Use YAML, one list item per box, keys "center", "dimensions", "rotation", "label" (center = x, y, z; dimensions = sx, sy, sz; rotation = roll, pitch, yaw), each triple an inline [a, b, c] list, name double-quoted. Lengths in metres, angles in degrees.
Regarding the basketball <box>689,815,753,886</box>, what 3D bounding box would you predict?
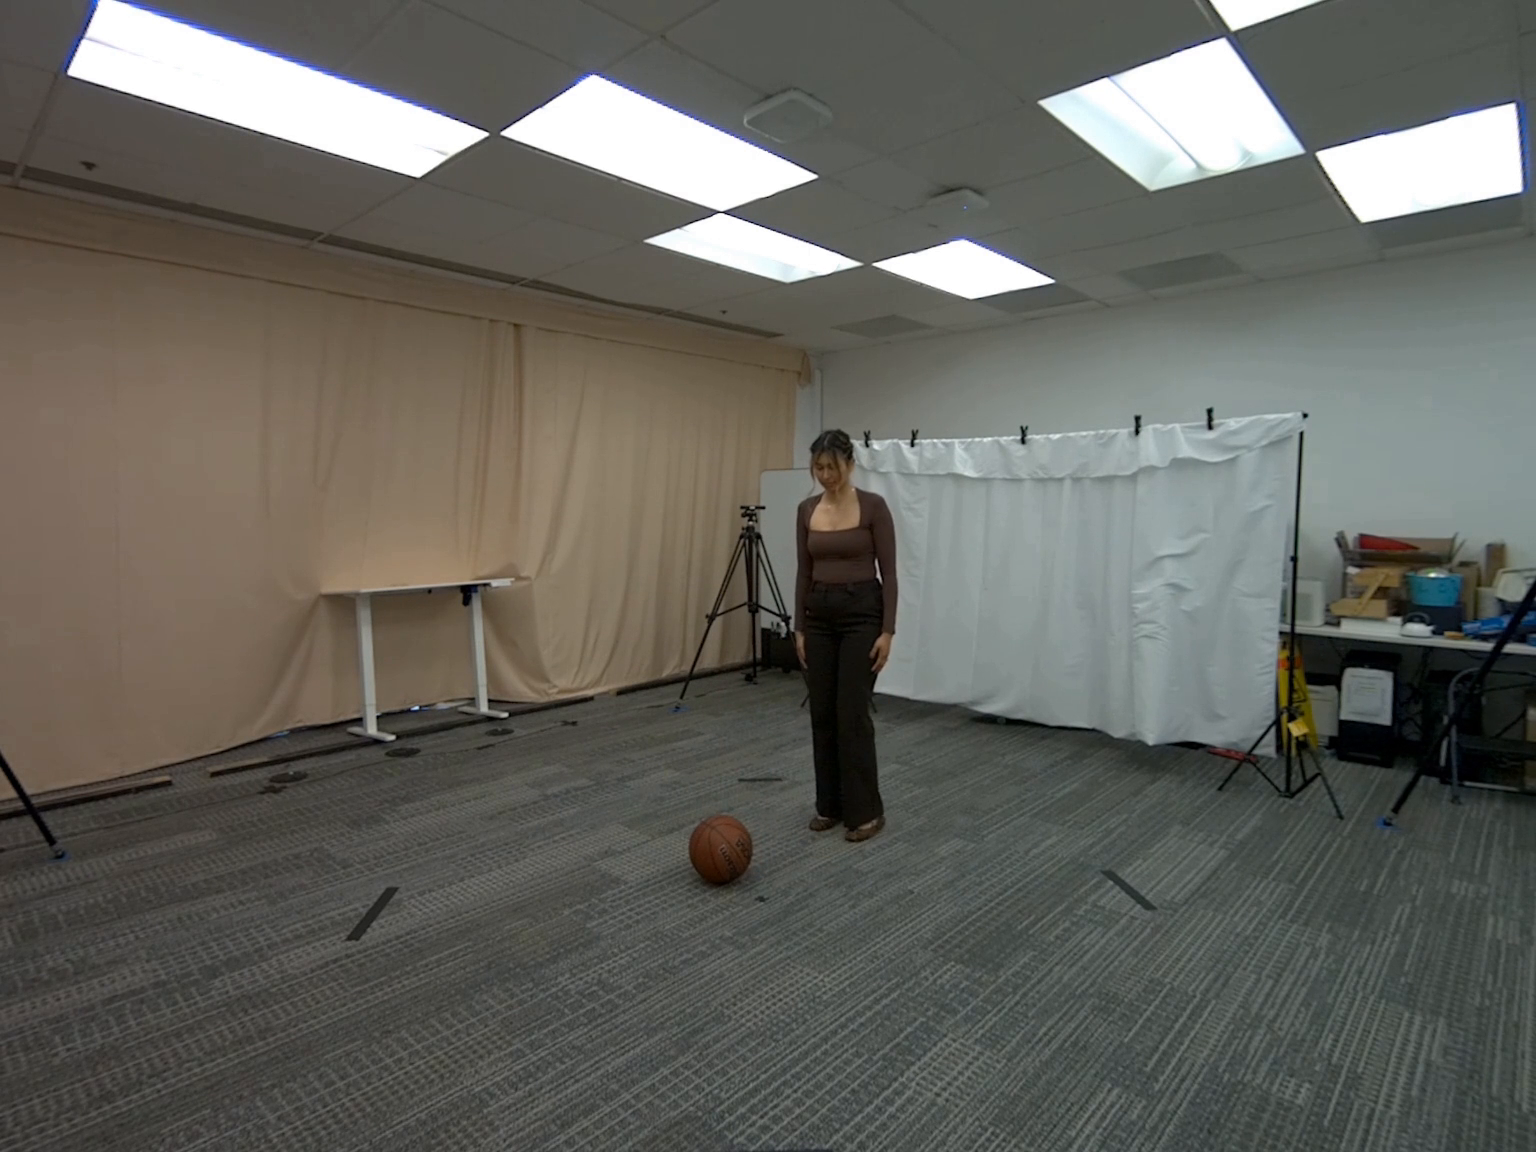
- center: [-0.175, 1.009, 3.129]
  dimensions: [0.236, 0.235, 0.237]
  rotation: [0, 4, -2]
  label: "basketball"
